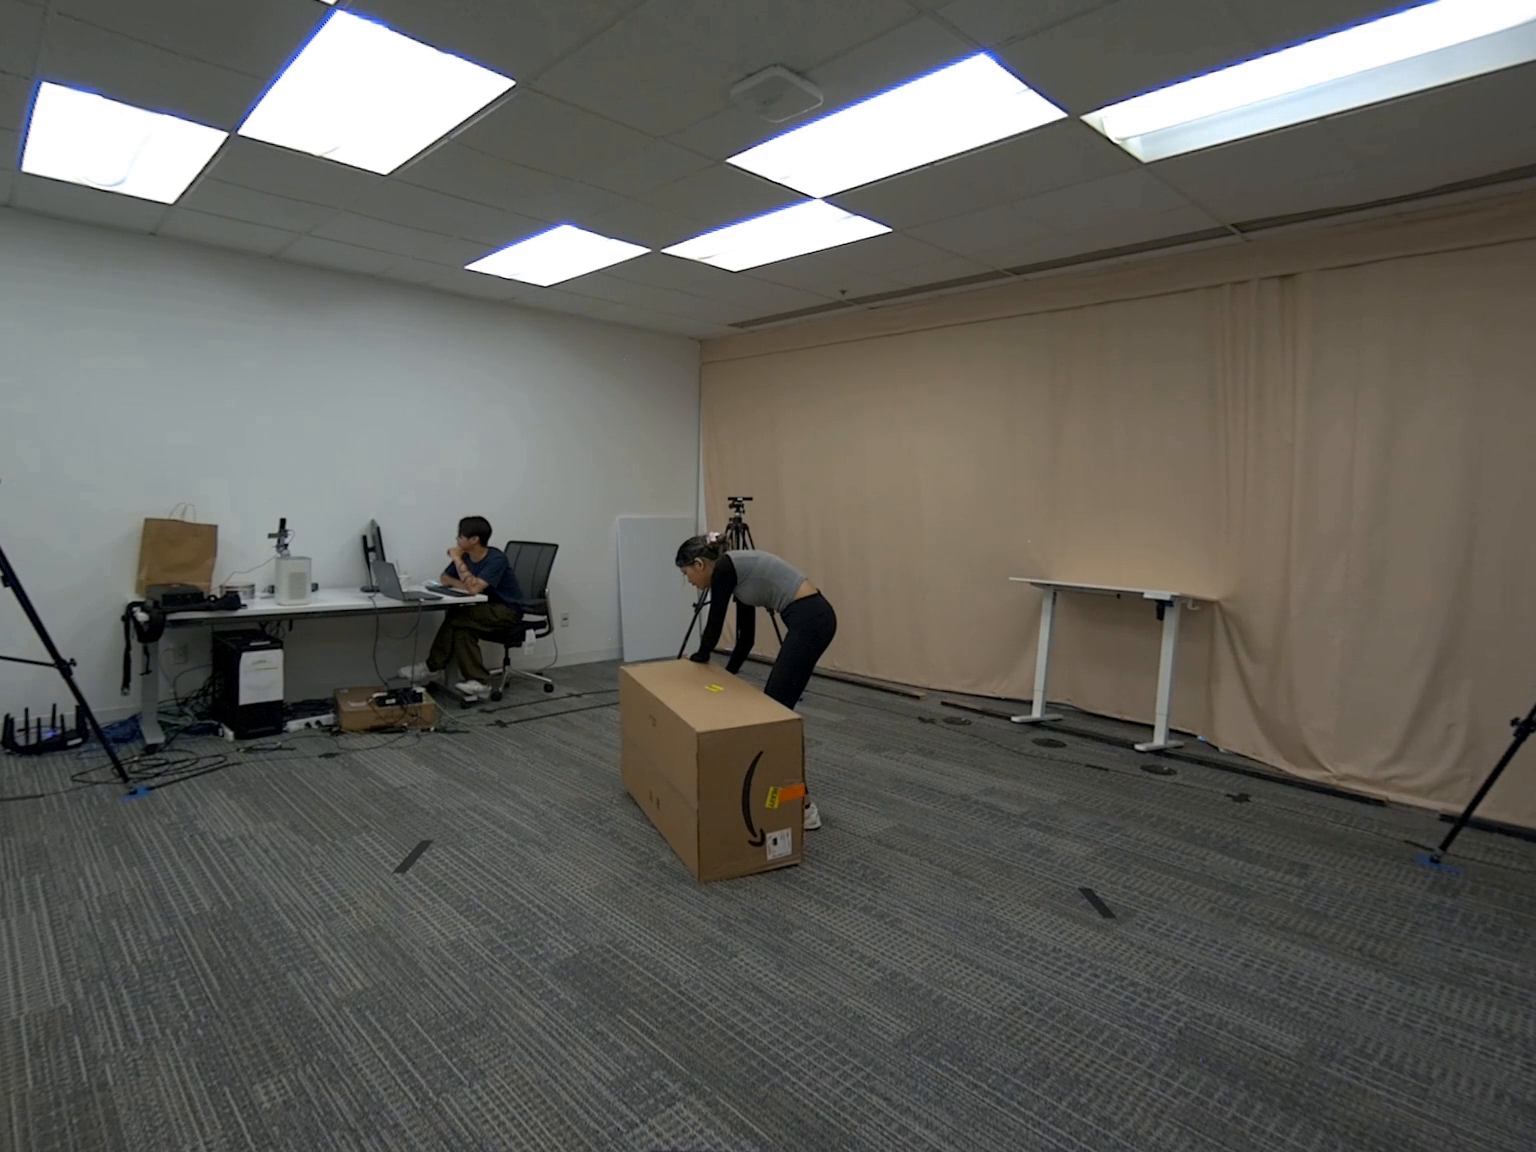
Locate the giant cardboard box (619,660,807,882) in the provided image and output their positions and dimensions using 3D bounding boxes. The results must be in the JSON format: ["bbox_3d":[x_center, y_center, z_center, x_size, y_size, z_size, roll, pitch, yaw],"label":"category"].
[{"bbox_3d":[-0.285,0.755,3.540,0.439,0.581,1.050,-2,8,-25],"label":"giant cardboard box"}]
